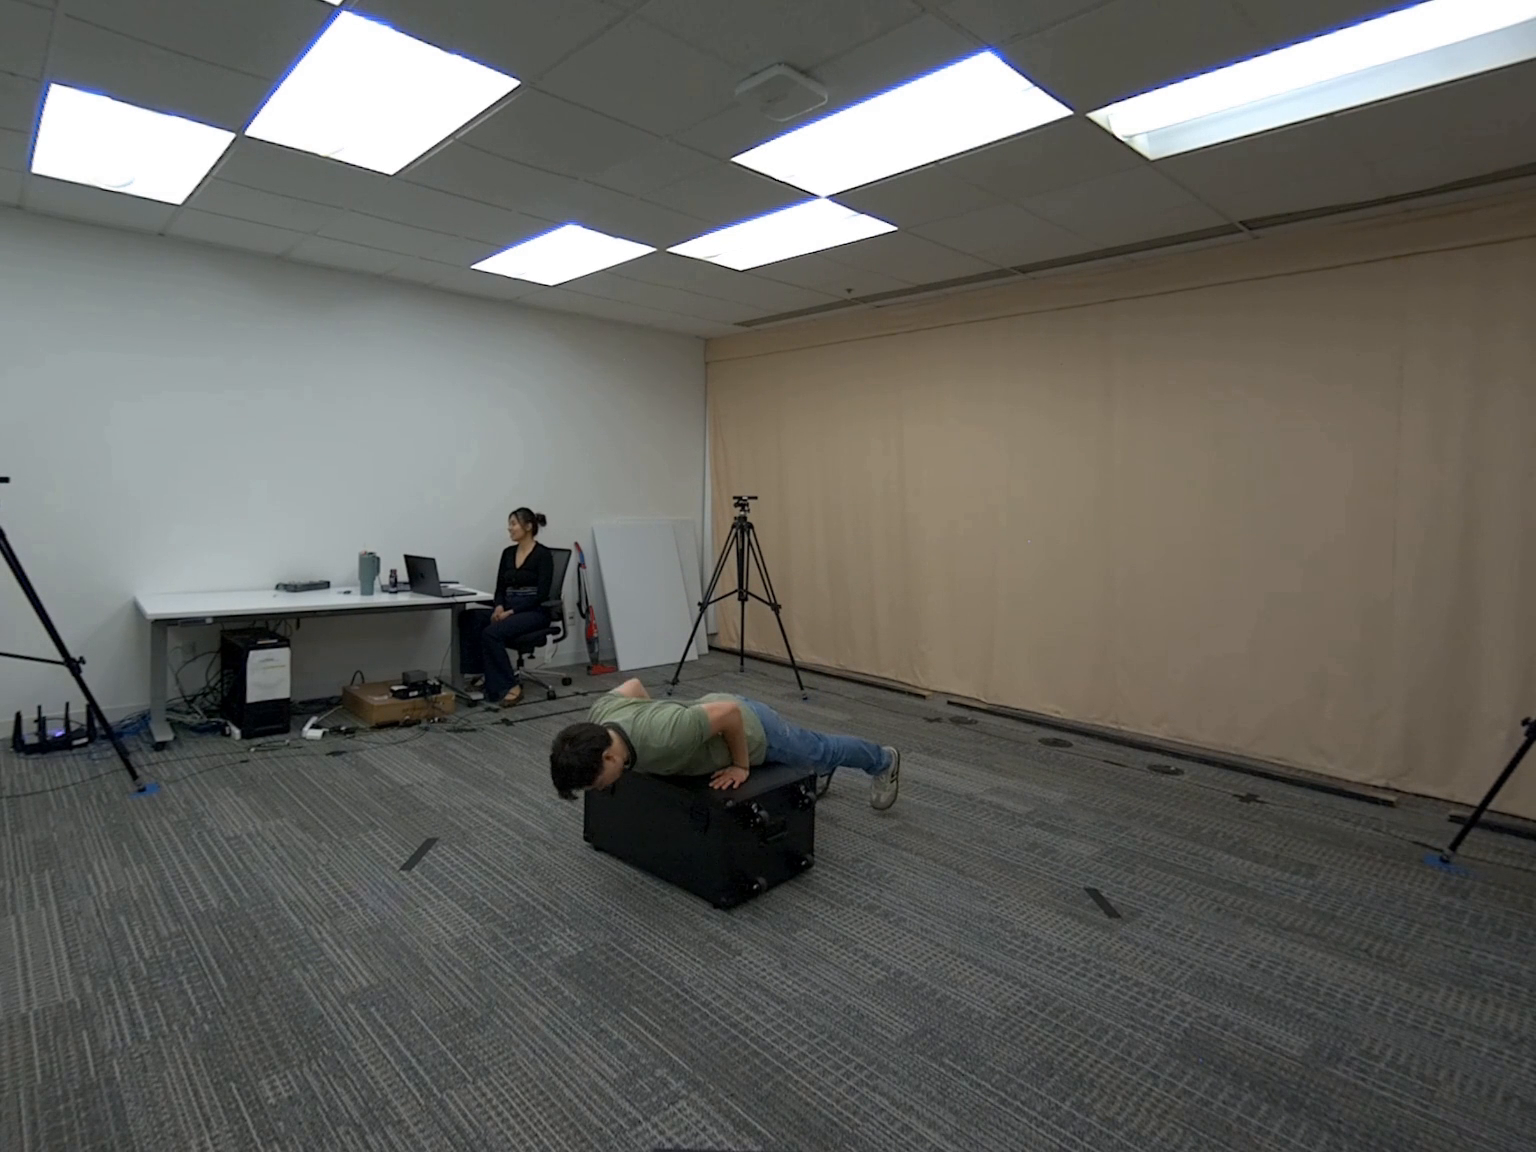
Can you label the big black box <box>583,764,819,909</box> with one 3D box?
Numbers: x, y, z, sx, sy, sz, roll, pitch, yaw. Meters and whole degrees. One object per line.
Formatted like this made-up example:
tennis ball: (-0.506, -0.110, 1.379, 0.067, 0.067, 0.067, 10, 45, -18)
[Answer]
big black box: (-0.257, 0.907, 3.199, 0.883, 0.395, 0.509, 3, 5, 41)
